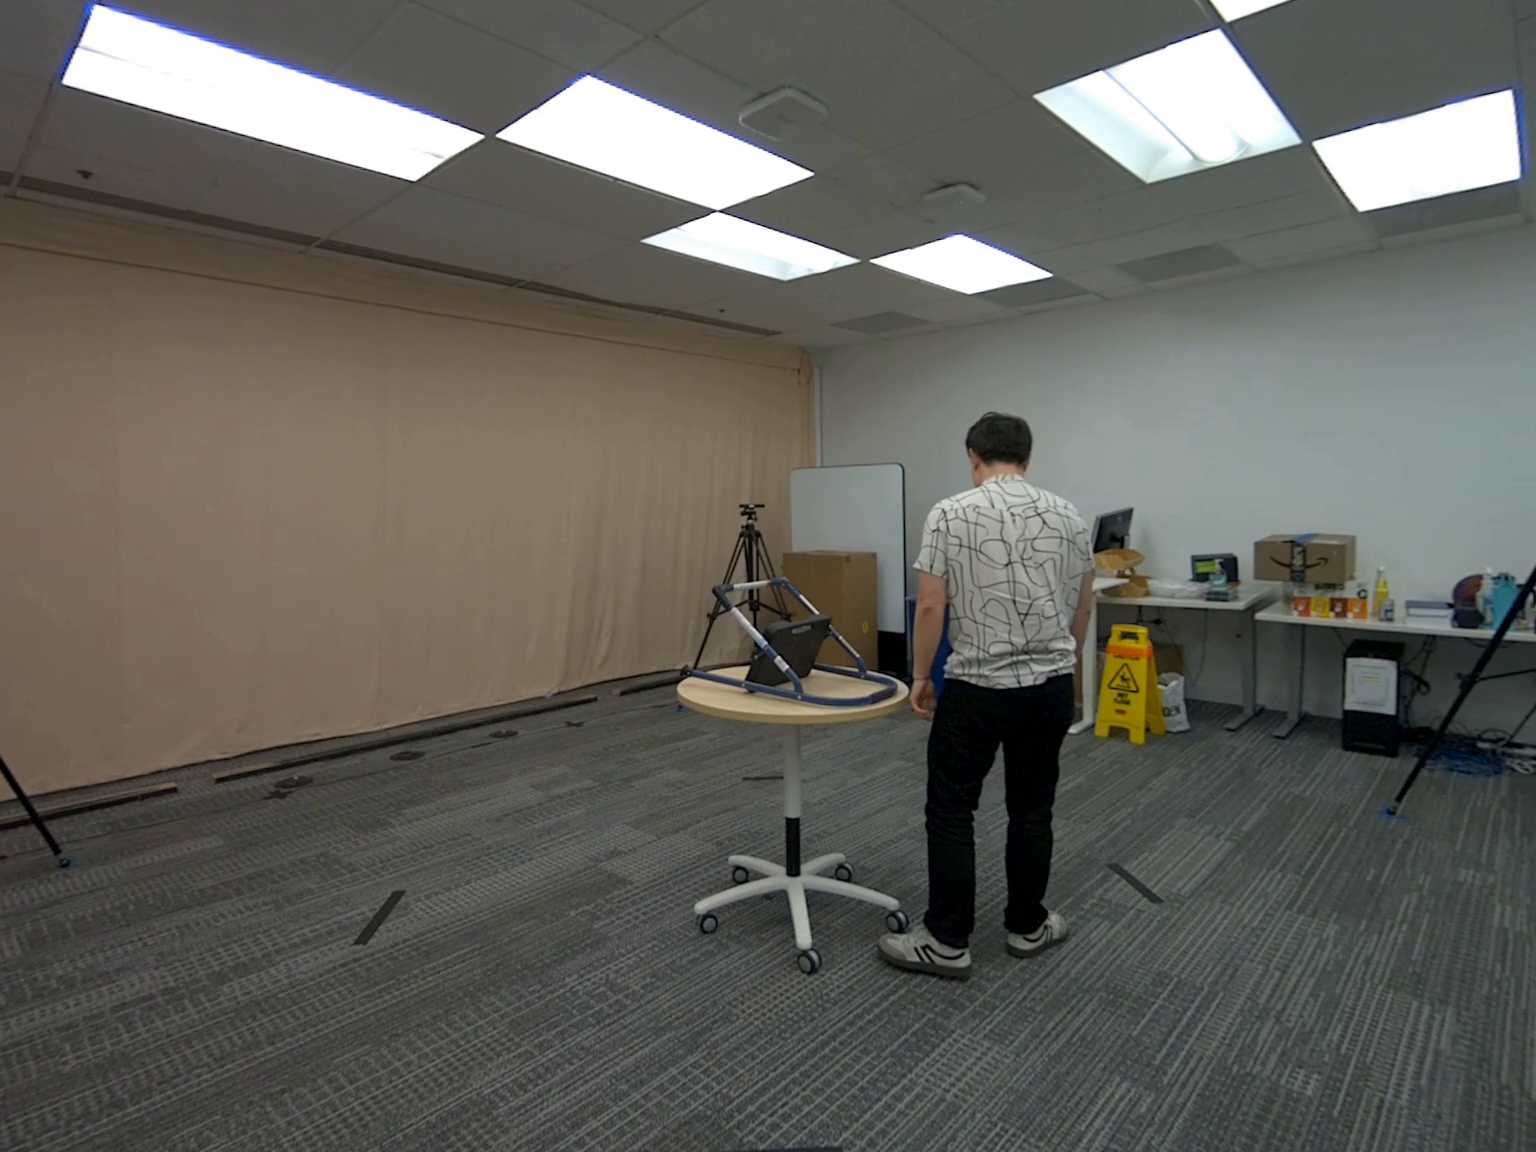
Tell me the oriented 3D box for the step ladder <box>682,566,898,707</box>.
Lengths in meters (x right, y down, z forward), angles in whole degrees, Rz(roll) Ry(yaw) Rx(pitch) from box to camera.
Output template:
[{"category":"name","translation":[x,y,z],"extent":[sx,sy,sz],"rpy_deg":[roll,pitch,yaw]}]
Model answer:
[{"category":"step ladder","translation":[0.110,0.303,2.792],"extent":[0.627,0.347,0.418],"rpy_deg":[31,22,32]}]
